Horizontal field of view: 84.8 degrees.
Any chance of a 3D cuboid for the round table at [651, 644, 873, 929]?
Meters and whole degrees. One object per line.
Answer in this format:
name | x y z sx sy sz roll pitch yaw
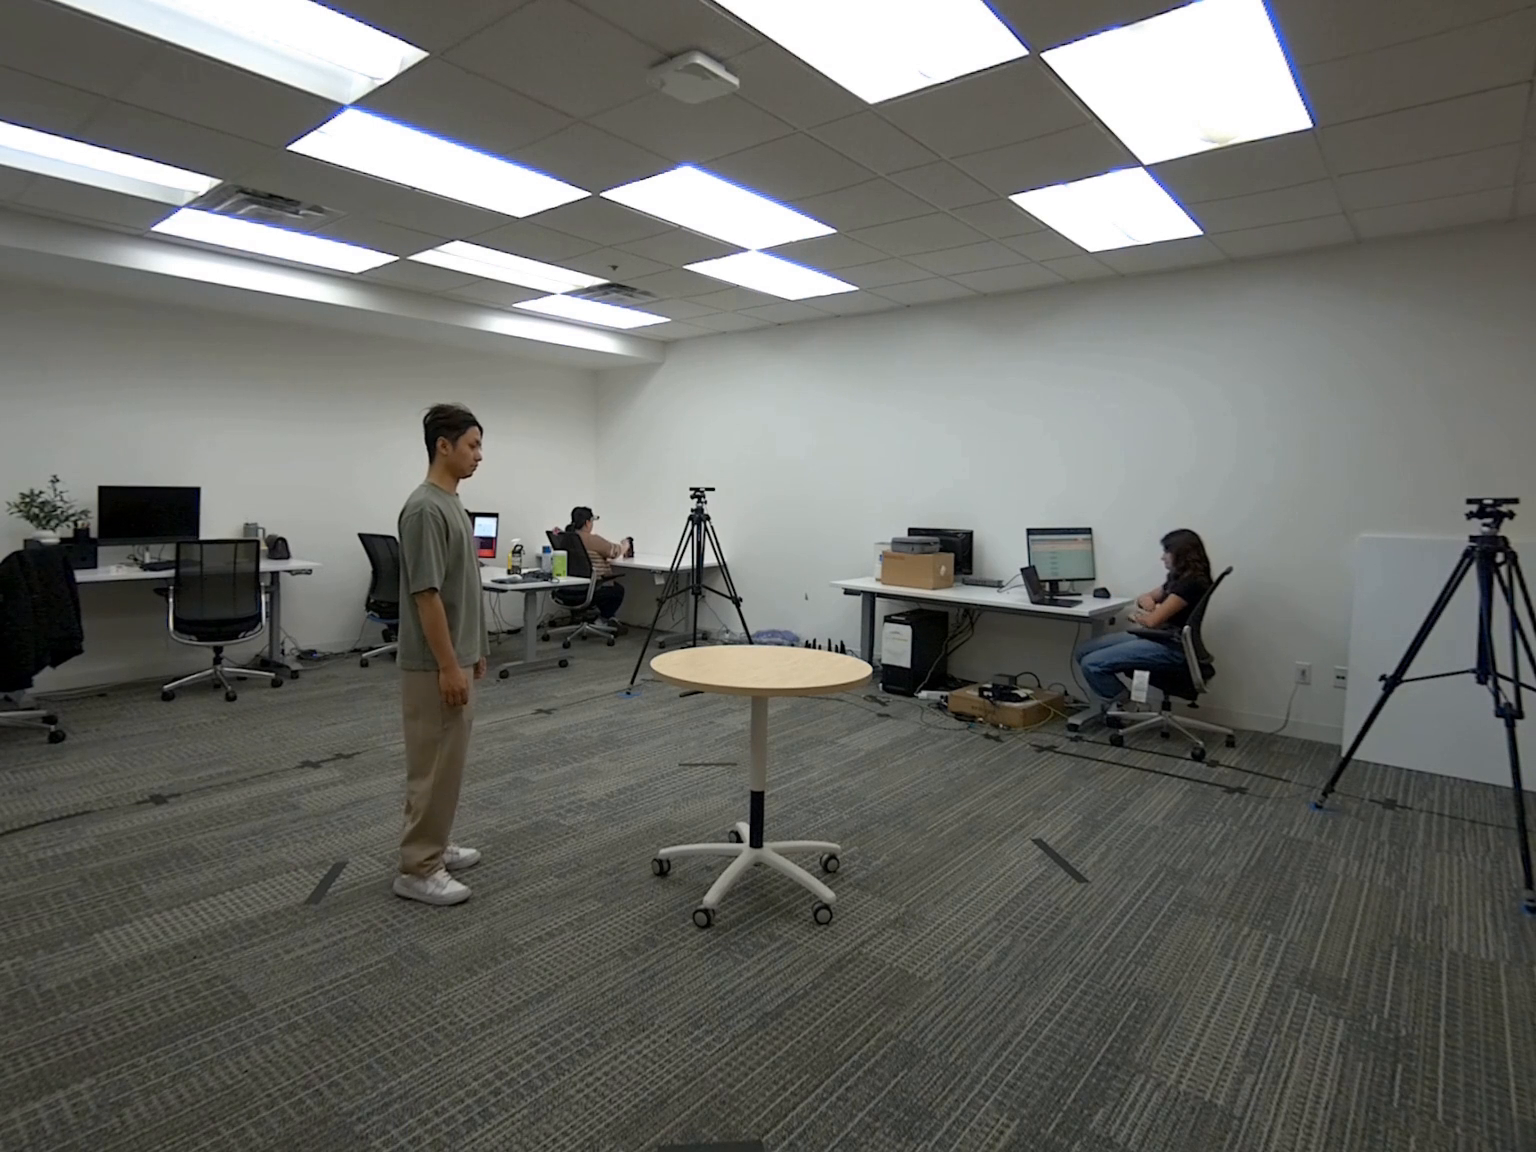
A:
round table | -0.037 0.695 2.951 0.784 0.784 0.789 1 4 -2
